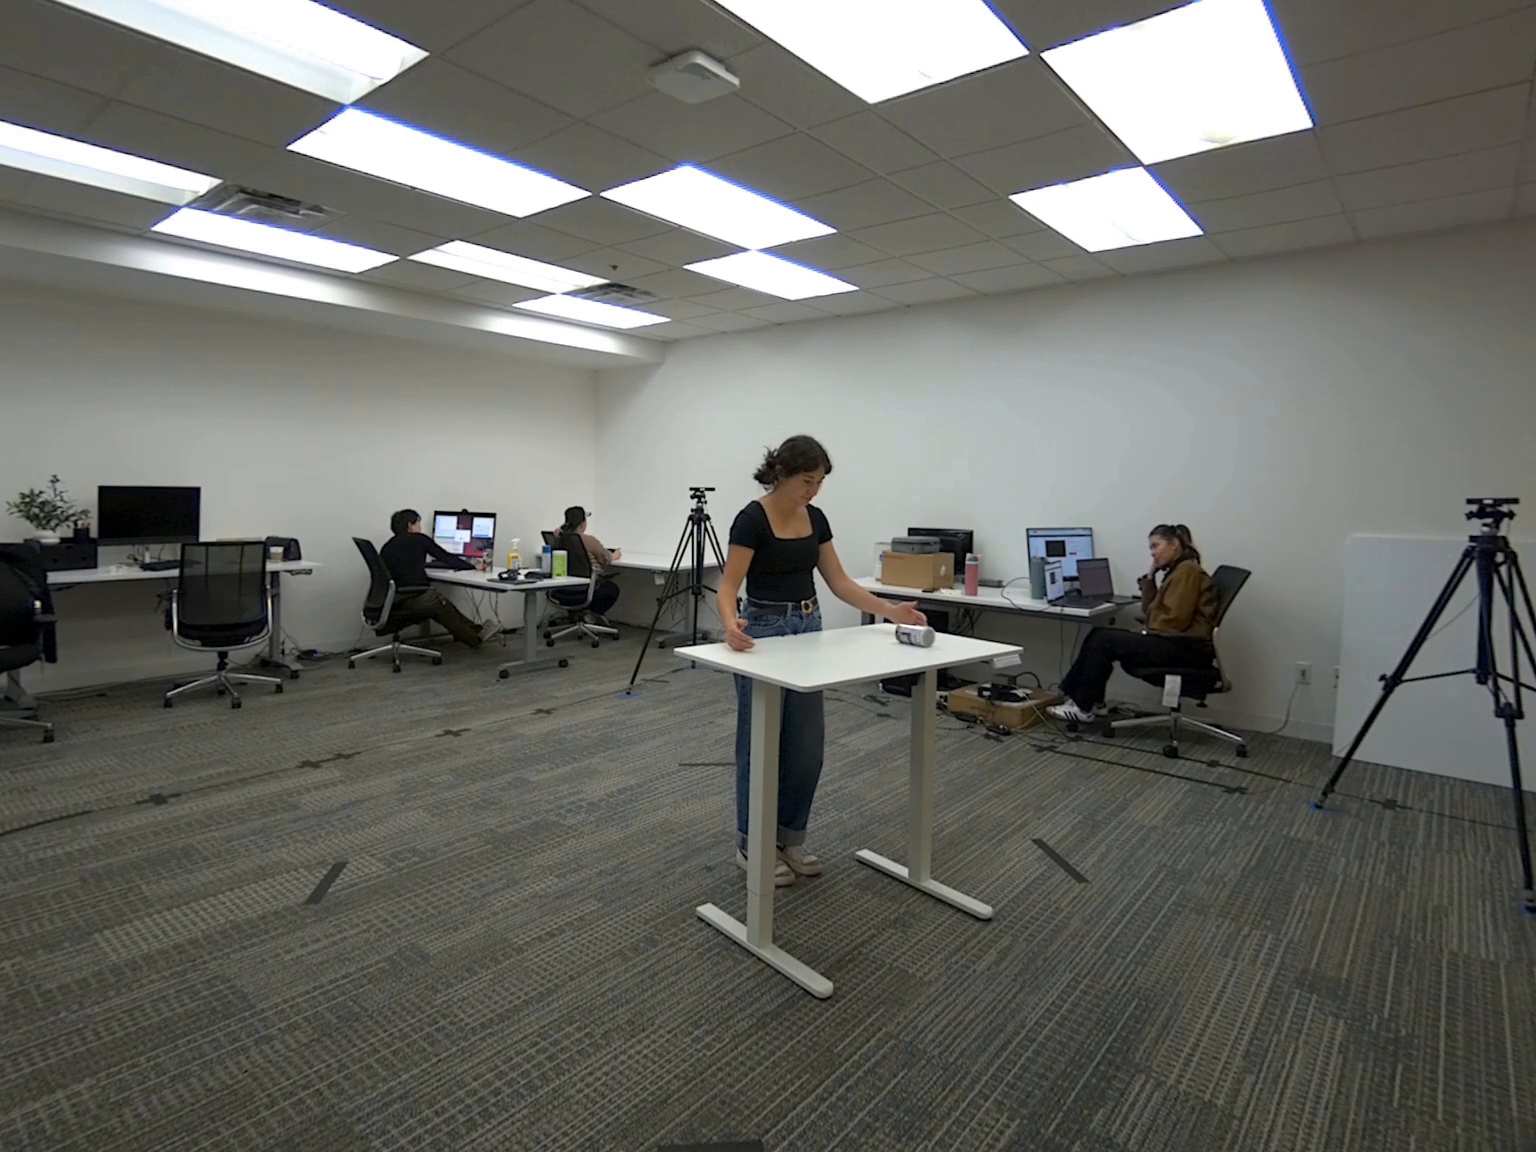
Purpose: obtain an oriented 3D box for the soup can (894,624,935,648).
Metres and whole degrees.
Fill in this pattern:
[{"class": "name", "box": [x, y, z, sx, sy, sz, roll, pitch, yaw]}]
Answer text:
[{"class": "soup can", "box": [0.481, 0.193, 2.833, 0.065, 0.067, 0.125, -2, 3, -38]}]
